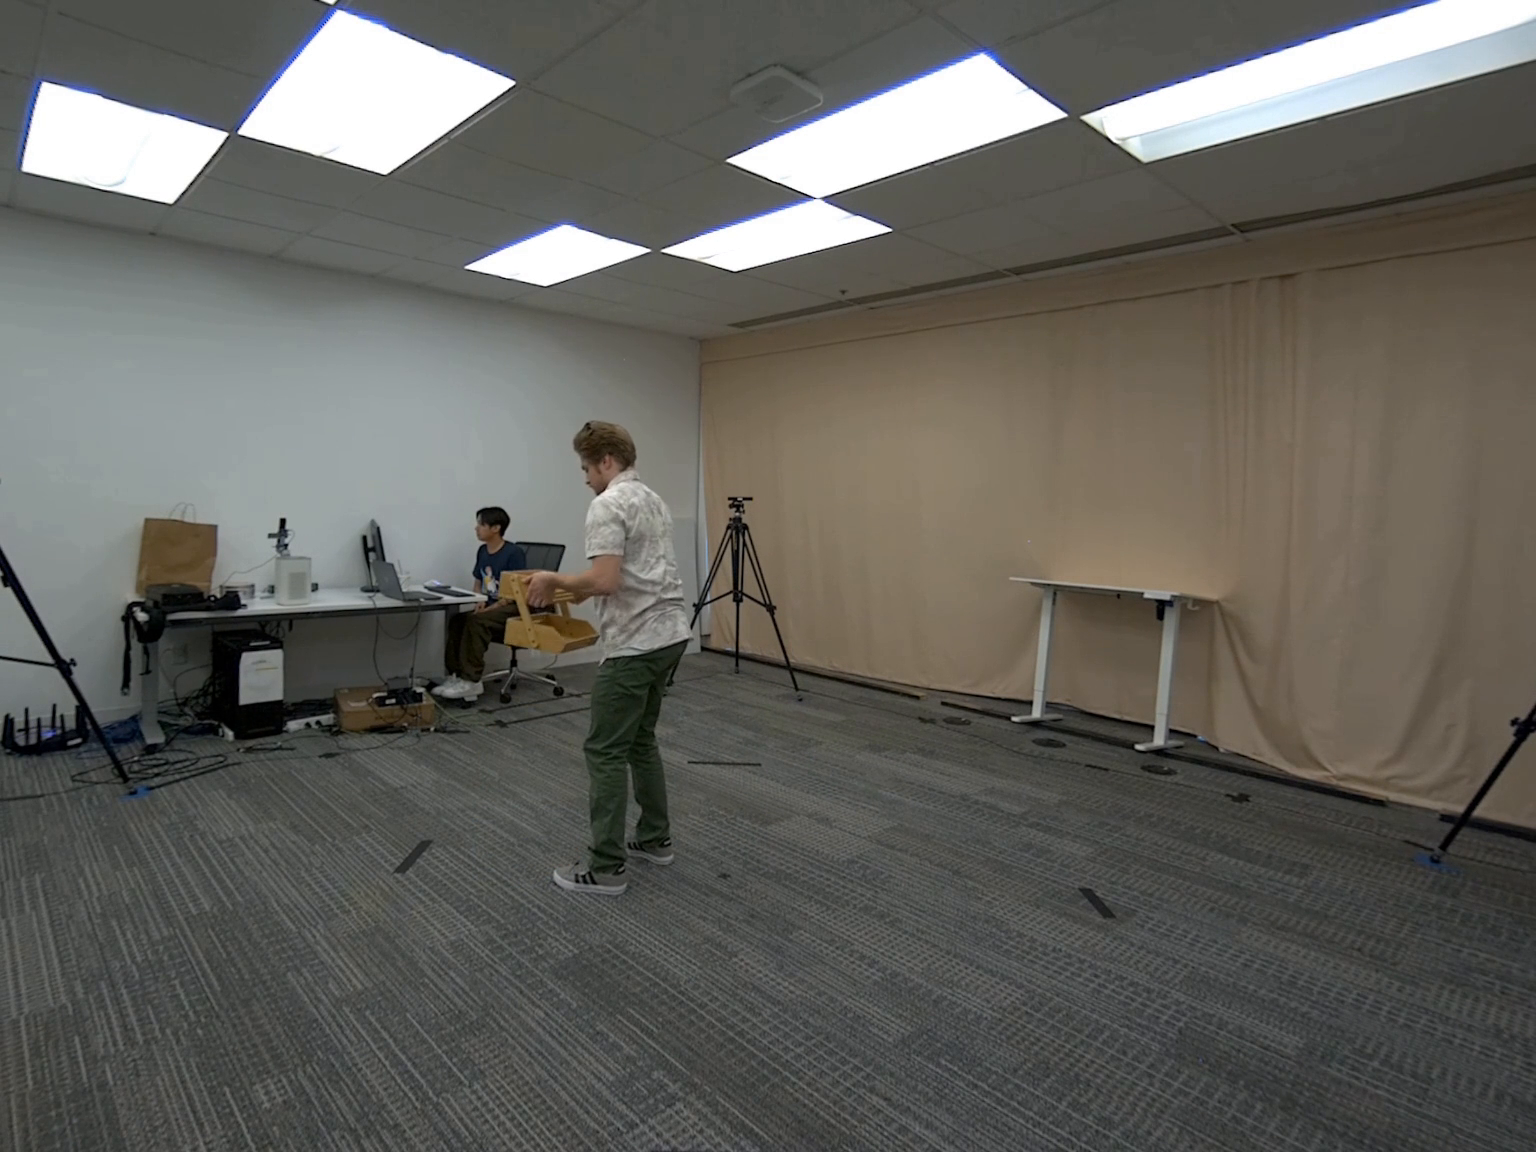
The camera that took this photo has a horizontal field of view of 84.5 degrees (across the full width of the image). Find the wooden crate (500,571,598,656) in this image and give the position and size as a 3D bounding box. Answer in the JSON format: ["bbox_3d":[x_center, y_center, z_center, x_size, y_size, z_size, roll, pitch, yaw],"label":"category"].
[{"bbox_3d":[-0.829,0.137,3.230,0.306,0.273,0.321,9,3,13],"label":"wooden crate"}]
